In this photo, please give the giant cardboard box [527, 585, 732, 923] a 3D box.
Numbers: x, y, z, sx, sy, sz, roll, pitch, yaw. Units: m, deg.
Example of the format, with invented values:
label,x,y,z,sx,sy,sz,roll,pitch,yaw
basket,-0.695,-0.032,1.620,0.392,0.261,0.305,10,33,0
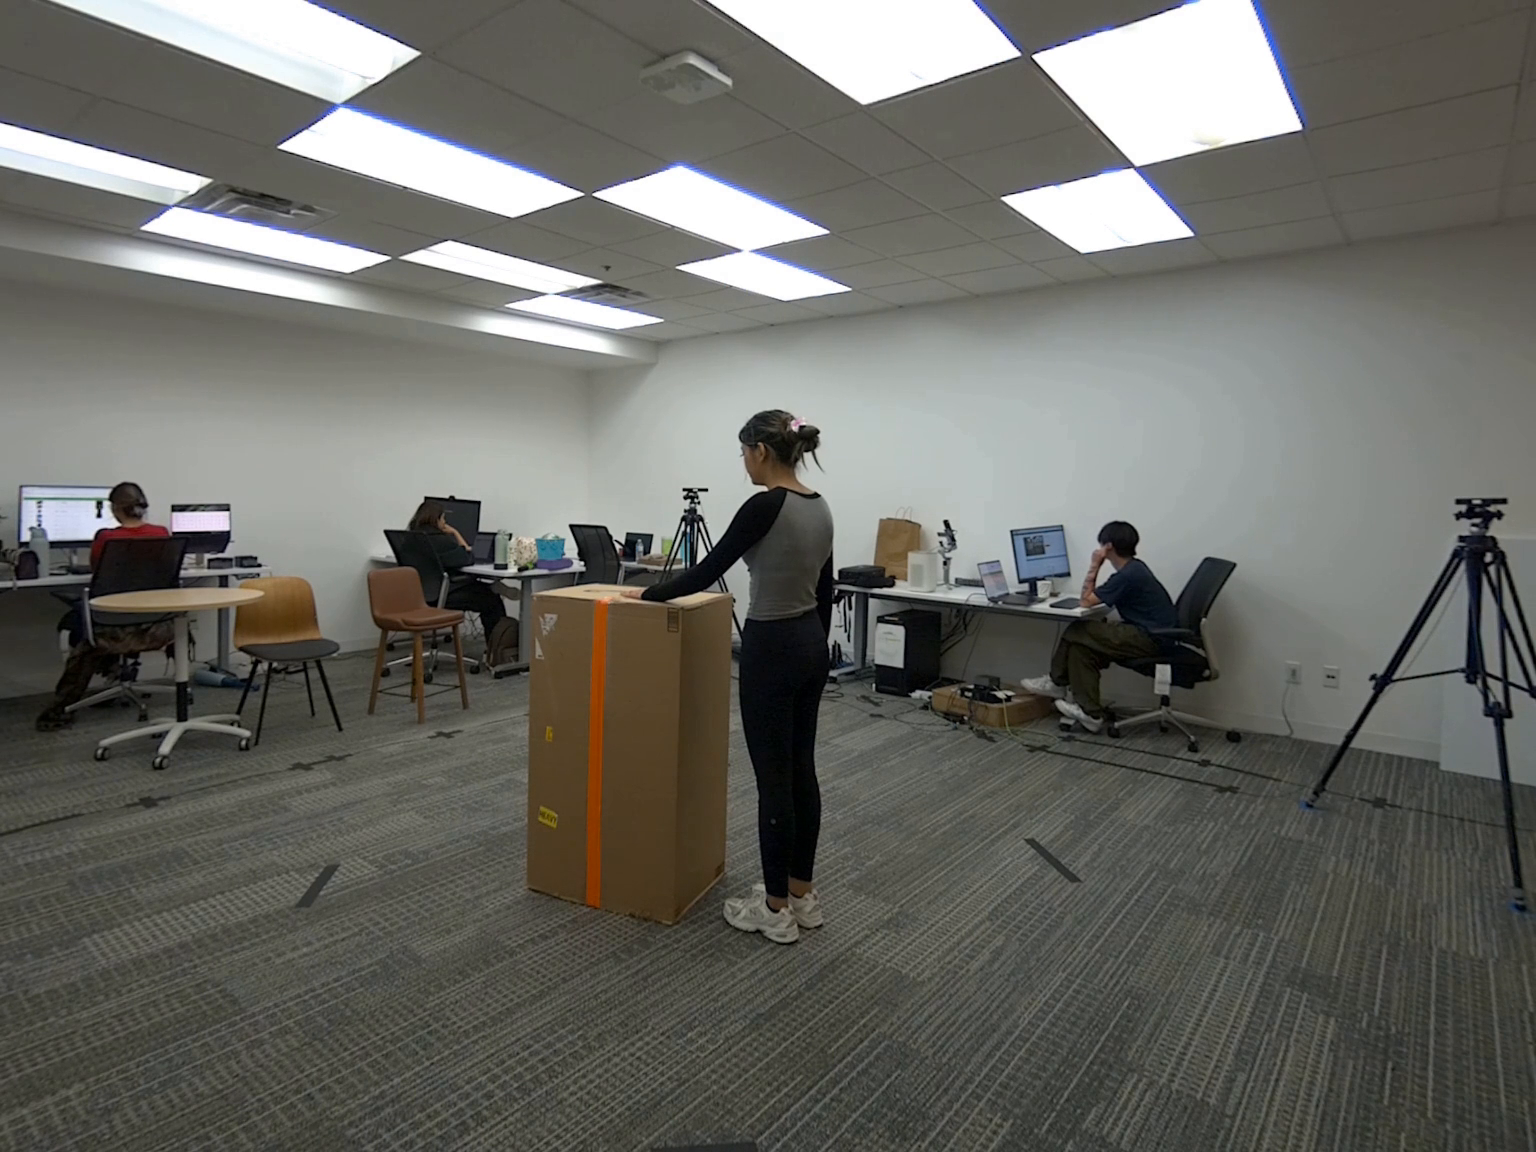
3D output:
label,x,y,z,sx,sy,sz,roll,pitch,yaw
giant cardboard box,-0.494,0.572,2.979,0.598,1.025,0.437,3,3,22
